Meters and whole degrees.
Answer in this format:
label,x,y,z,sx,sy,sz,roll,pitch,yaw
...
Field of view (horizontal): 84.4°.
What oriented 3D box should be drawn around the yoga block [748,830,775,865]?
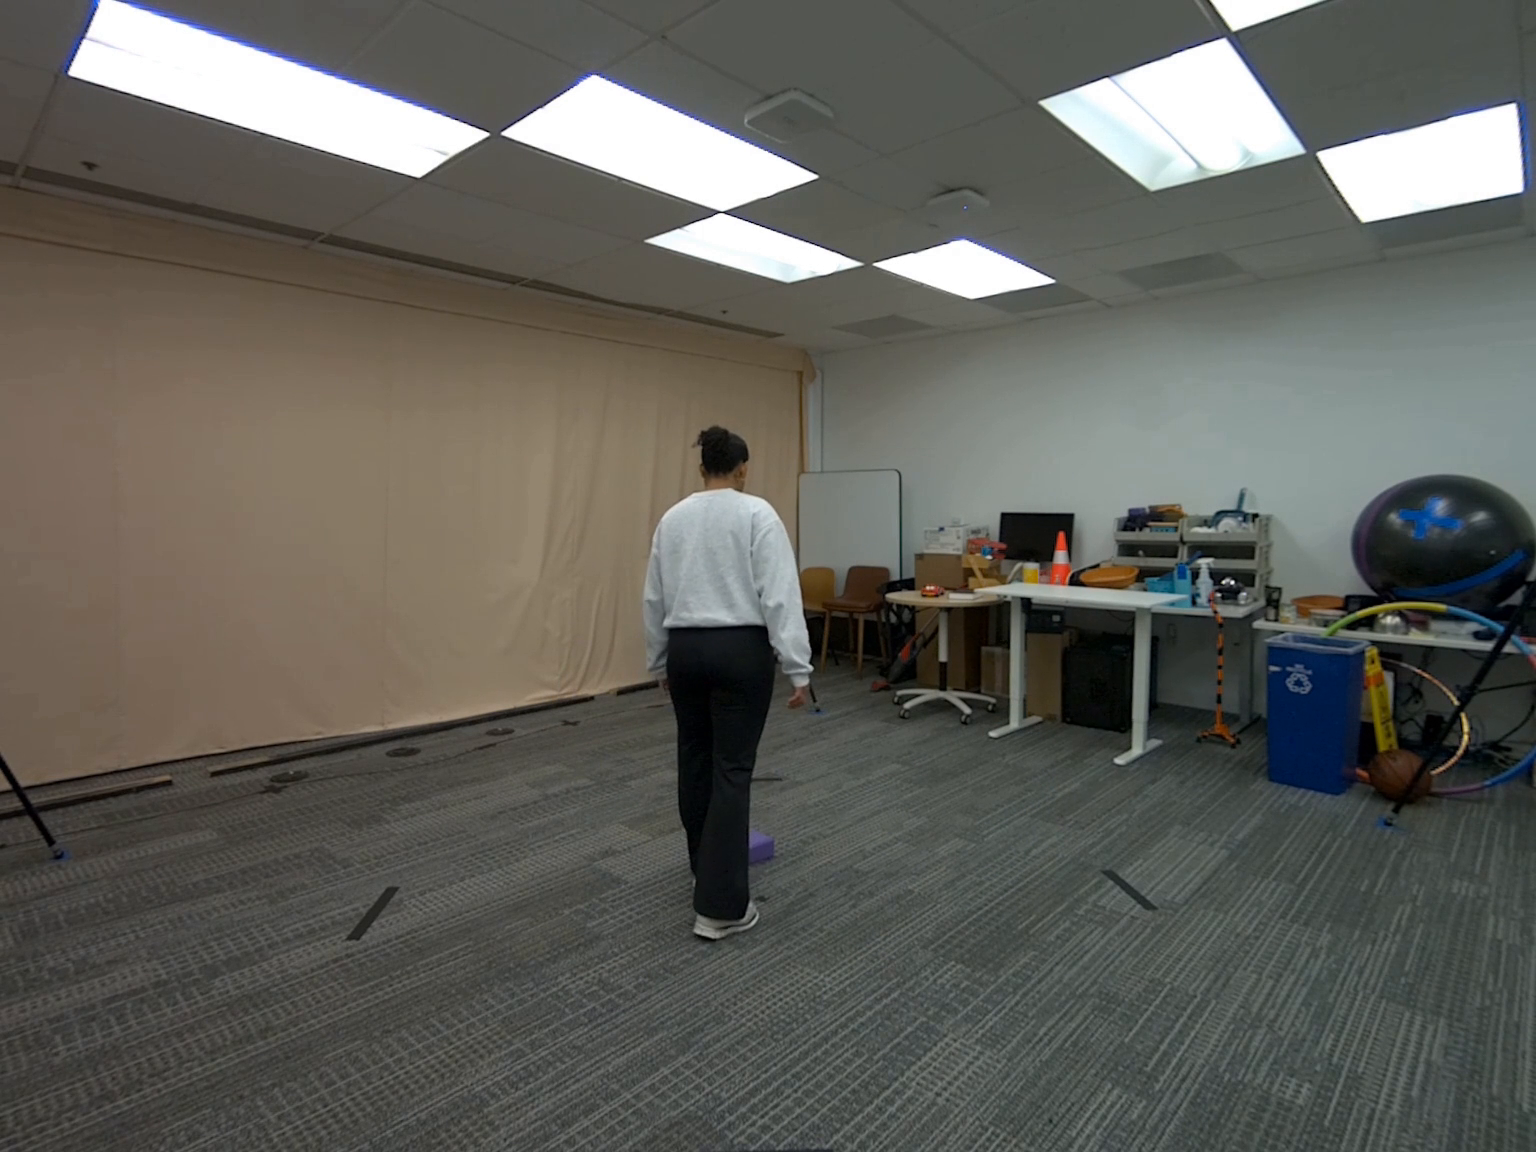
label,x,y,z,sx,sy,sz,roll,pitch,yaw
yoga block,-0.100,1.069,3.374,0.144,0.076,0.237,-4,5,-40
